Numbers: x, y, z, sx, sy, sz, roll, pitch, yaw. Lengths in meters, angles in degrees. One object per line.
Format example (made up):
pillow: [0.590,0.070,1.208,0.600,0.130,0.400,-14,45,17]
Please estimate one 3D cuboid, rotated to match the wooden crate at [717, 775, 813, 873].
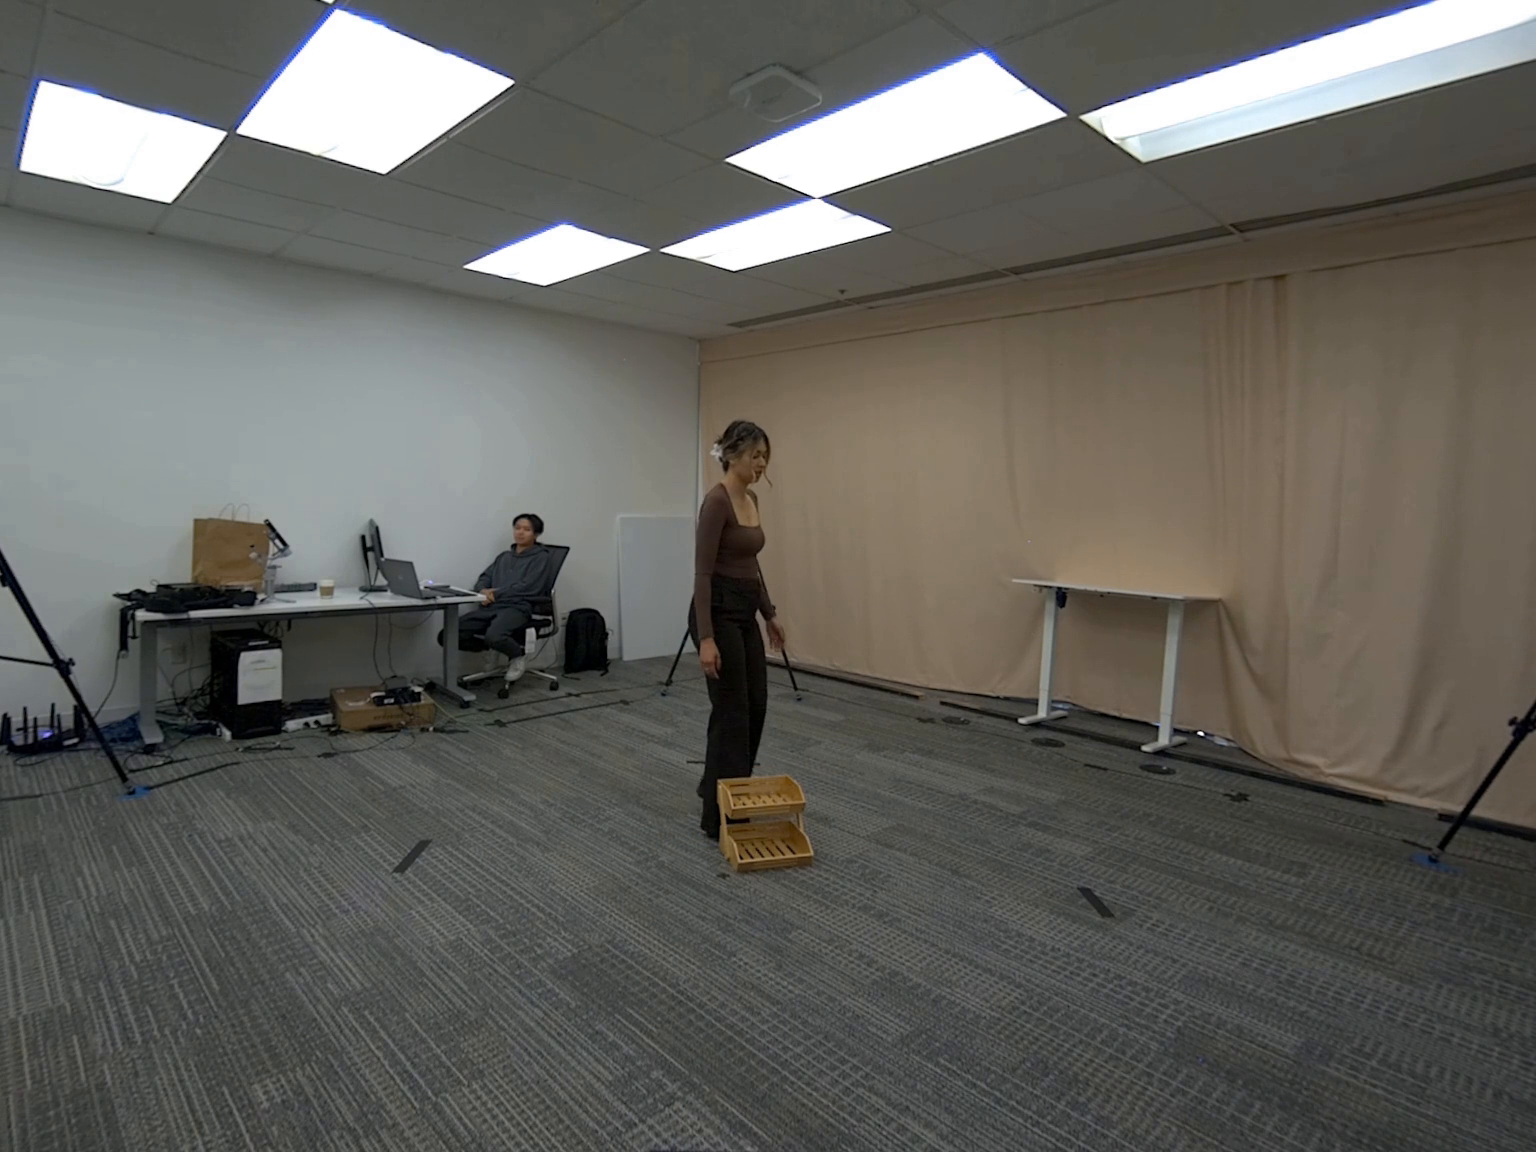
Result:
wooden crate: [-0.020,0.958,3.289,0.320,0.273,0.307,1,3,-18]
